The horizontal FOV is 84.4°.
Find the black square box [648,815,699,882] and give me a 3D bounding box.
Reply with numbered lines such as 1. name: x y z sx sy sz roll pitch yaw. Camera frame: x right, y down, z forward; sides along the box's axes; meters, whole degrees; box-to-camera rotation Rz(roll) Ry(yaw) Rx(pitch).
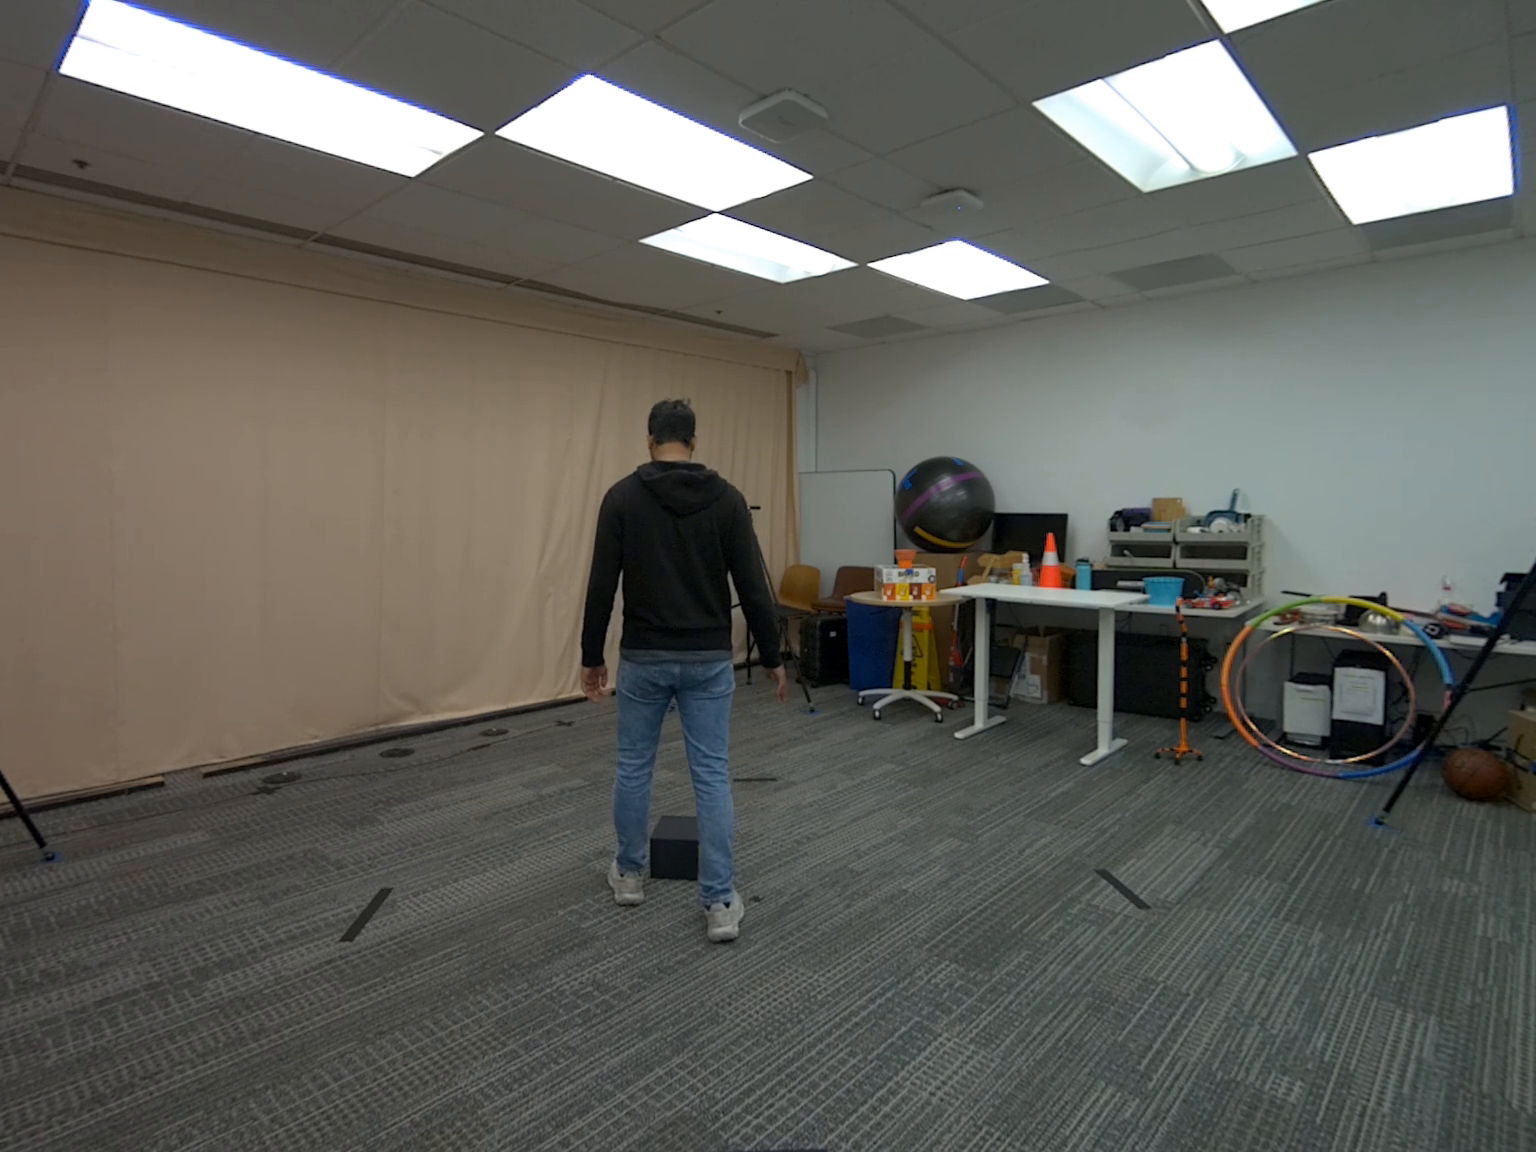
1. black square box: -0.328 1.037 3.240 0.218 0.155 0.227 0 5 5
